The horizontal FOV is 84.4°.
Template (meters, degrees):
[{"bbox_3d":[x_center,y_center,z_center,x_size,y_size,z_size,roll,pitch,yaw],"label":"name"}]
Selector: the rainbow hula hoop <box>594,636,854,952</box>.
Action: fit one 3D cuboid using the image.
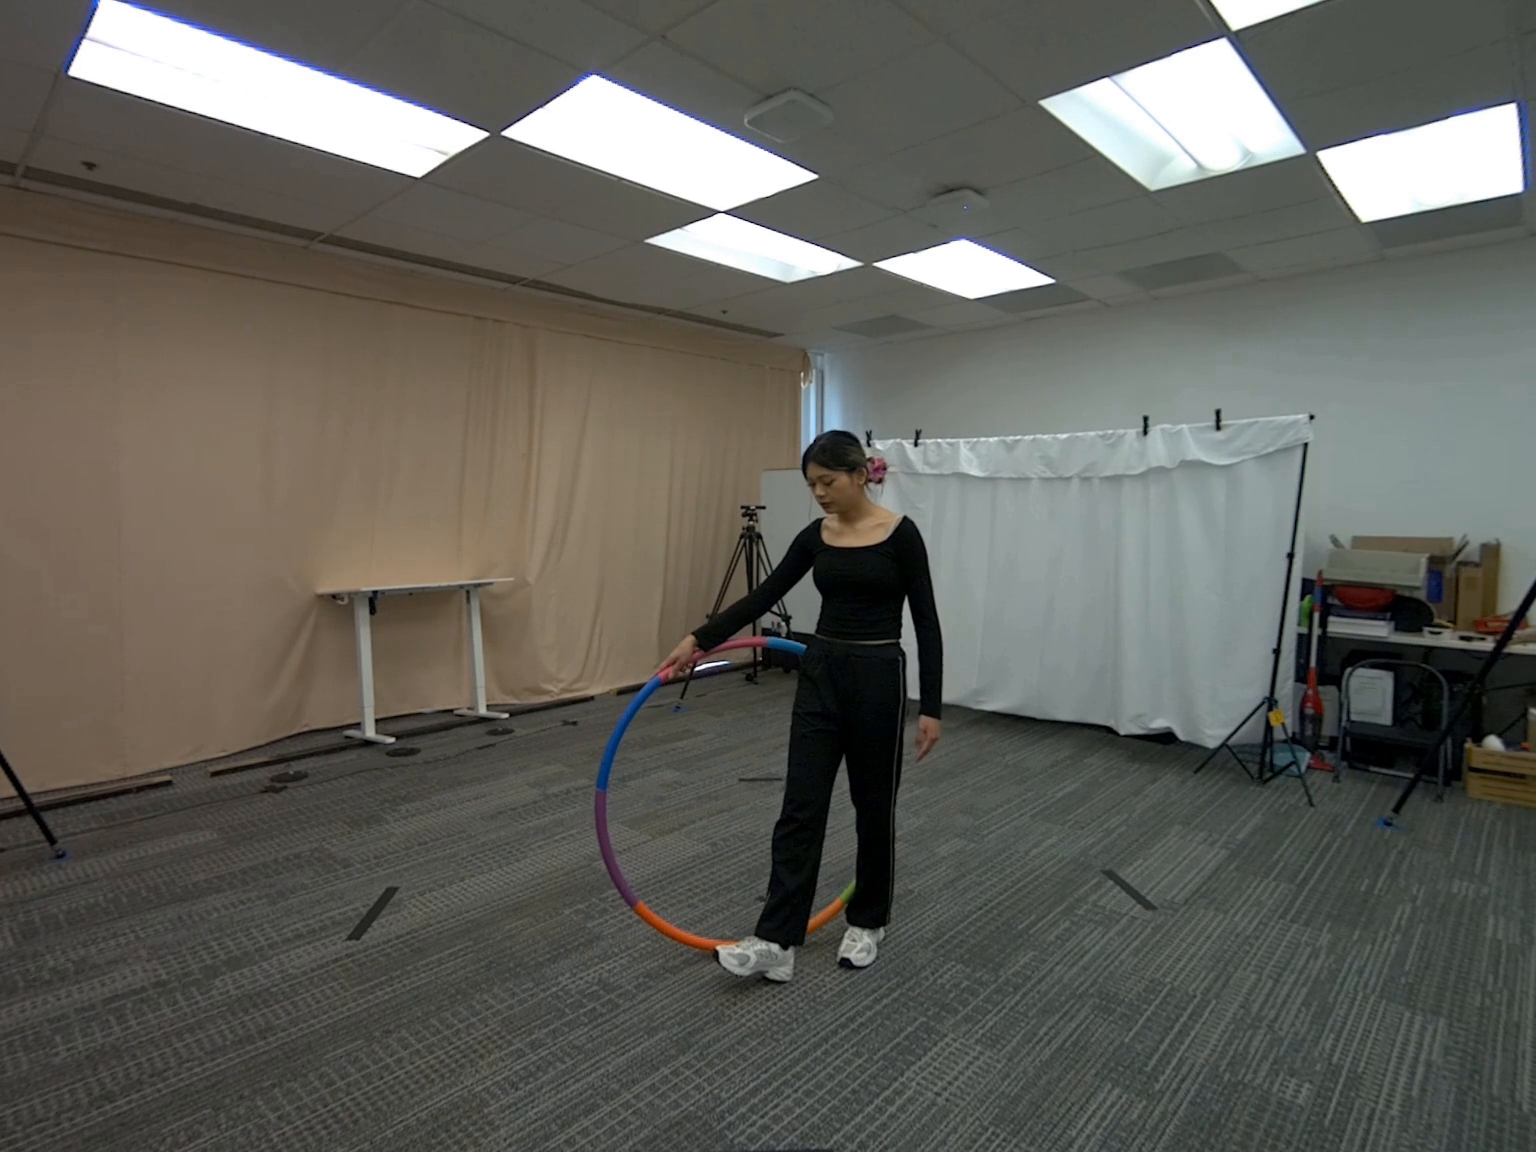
[{"bbox_3d":[-0.050,0.683,2.649,0.963,0.980,0.036,-1,-2,-15],"label":"rainbow hula hoop"}]
